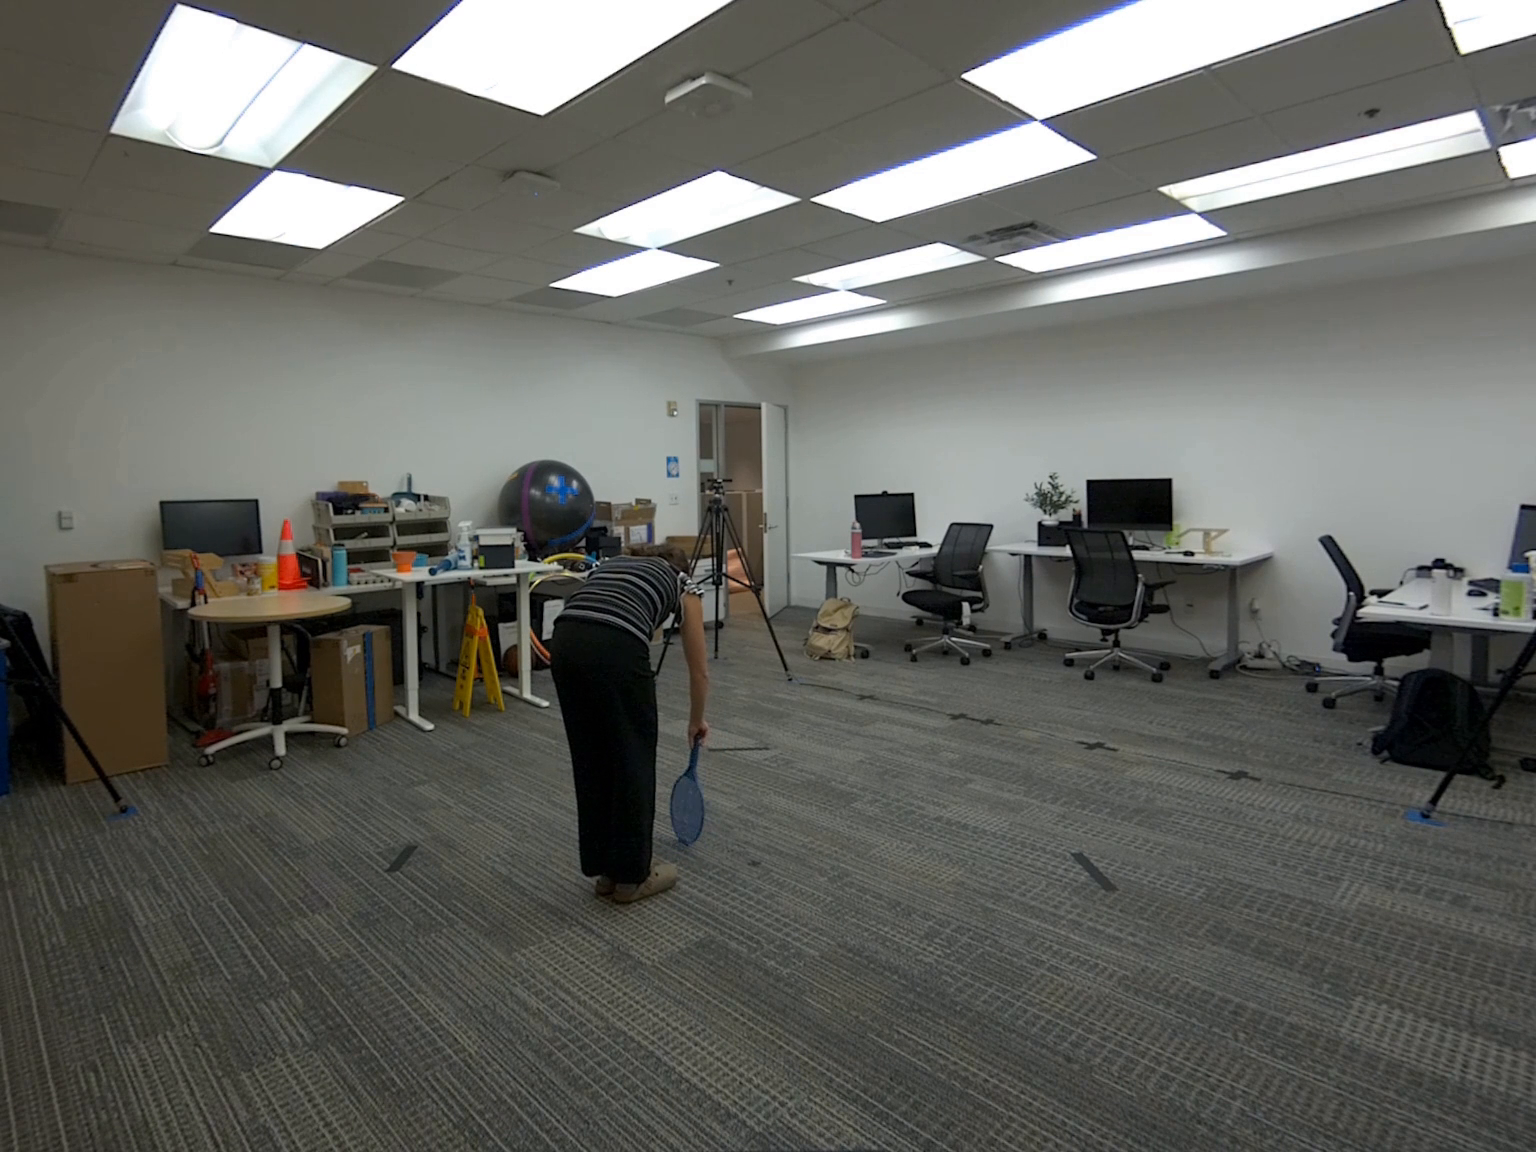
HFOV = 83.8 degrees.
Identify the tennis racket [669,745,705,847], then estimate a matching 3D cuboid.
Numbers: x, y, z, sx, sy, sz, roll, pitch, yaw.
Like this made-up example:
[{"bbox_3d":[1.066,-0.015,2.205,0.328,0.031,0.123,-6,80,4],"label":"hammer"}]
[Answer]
[{"bbox_3d":[-0.297,0.814,3.264,0.031,0.430,0.221,1,10,-39],"label":"tennis racket"}]
